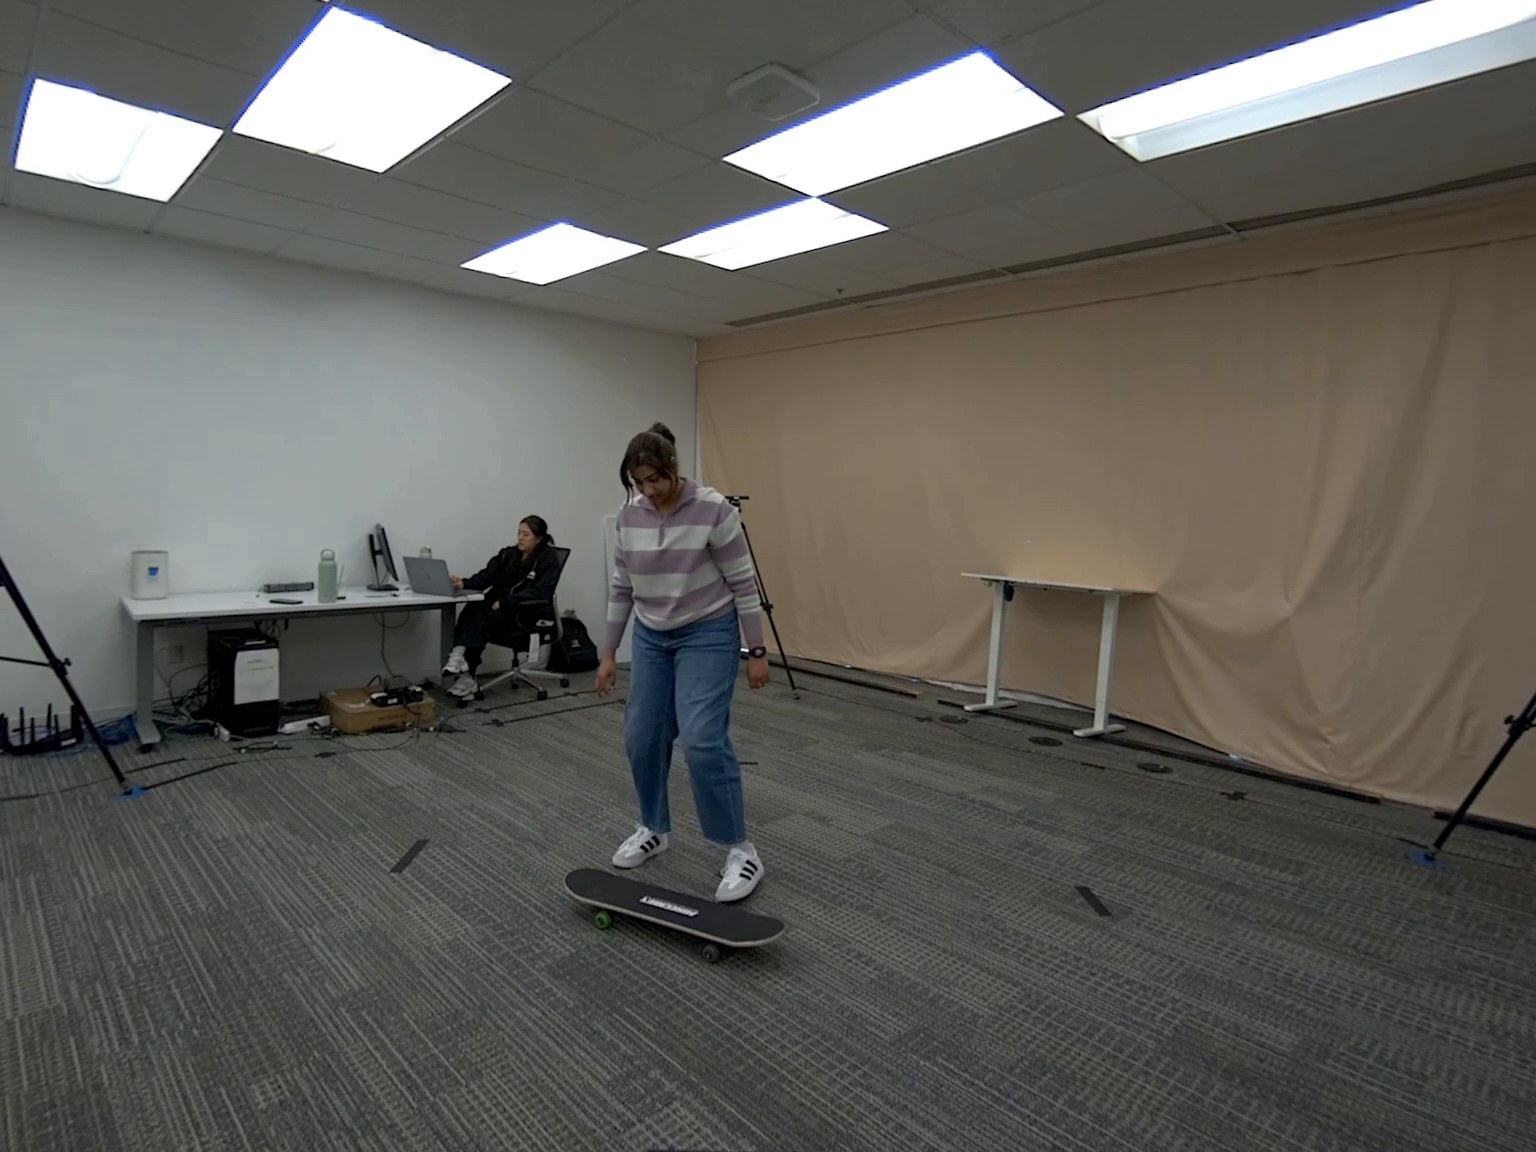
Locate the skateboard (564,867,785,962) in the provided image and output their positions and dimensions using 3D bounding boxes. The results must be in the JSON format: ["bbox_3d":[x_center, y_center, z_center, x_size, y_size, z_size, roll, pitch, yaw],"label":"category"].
[{"bbox_3d":[-0.322,1.081,2.672,0.801,0.110,0.190,4,5,27],"label":"skateboard"}]
